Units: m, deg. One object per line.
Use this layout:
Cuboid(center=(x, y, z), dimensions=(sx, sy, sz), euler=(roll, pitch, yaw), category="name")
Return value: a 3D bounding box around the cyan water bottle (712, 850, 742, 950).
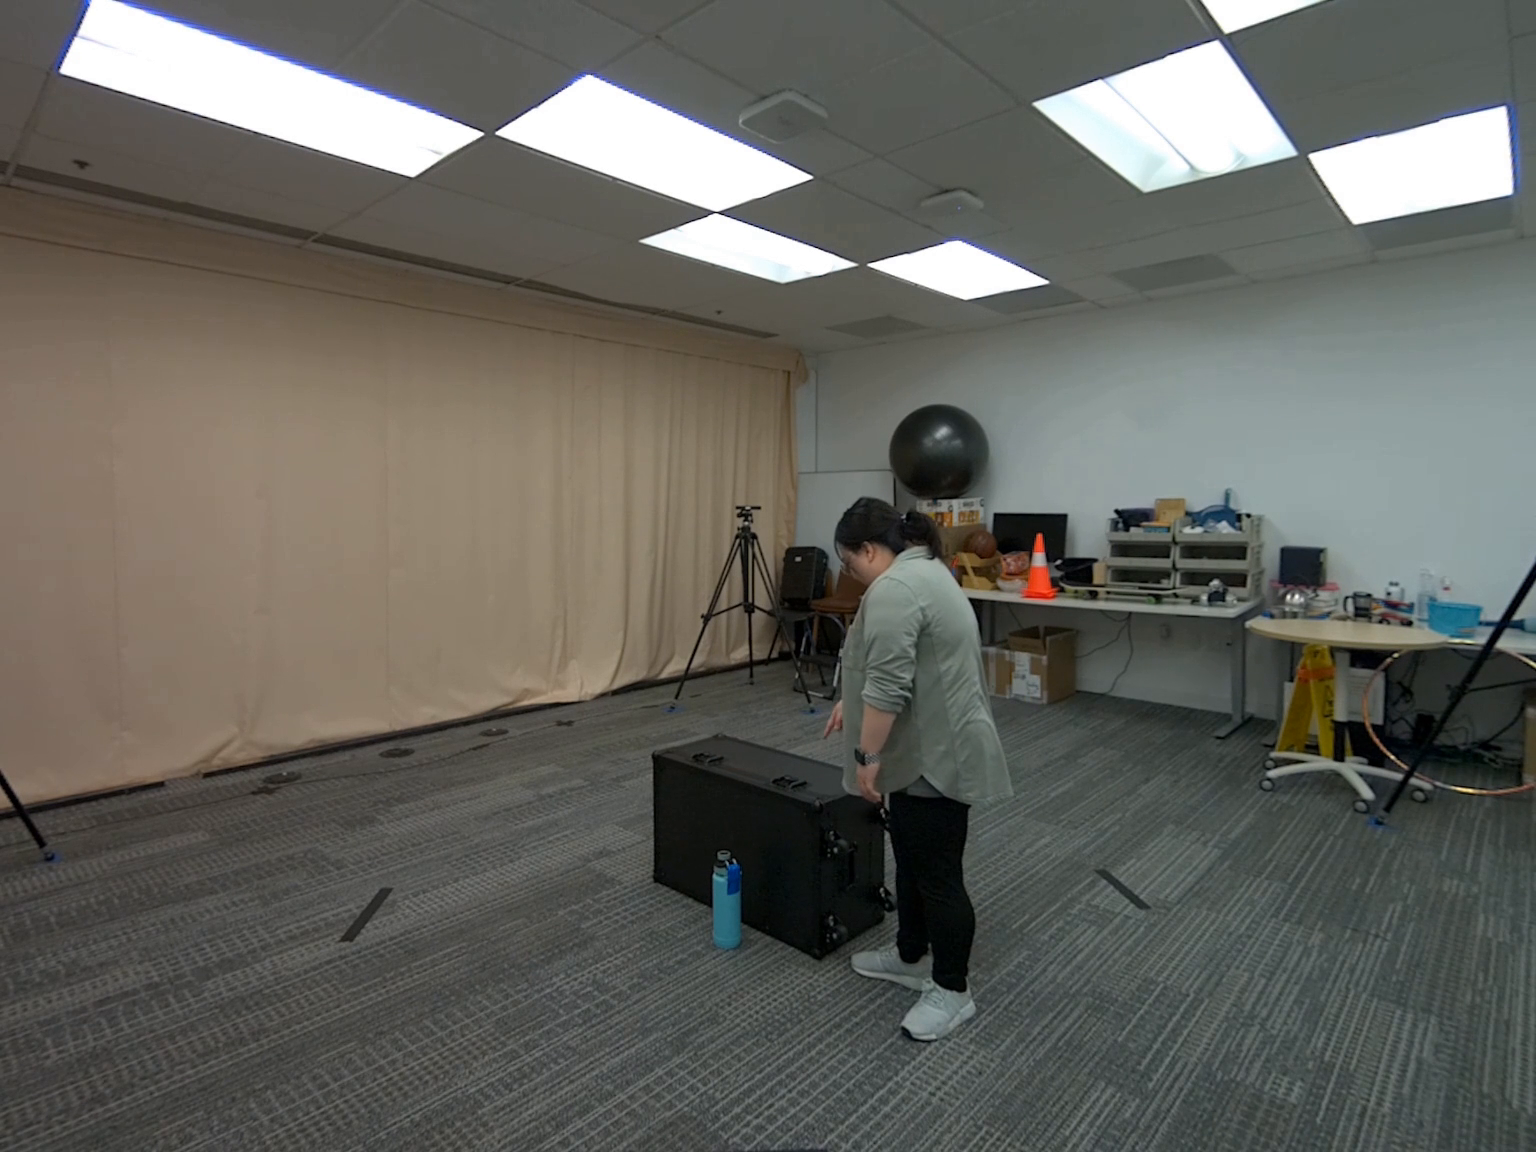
Cuboid(center=(-0.126, 1.026, 2.692), dimensions=(0.092, 0.282, 0.093), euler=(0, 5, -2), category="cyan water bottle")
